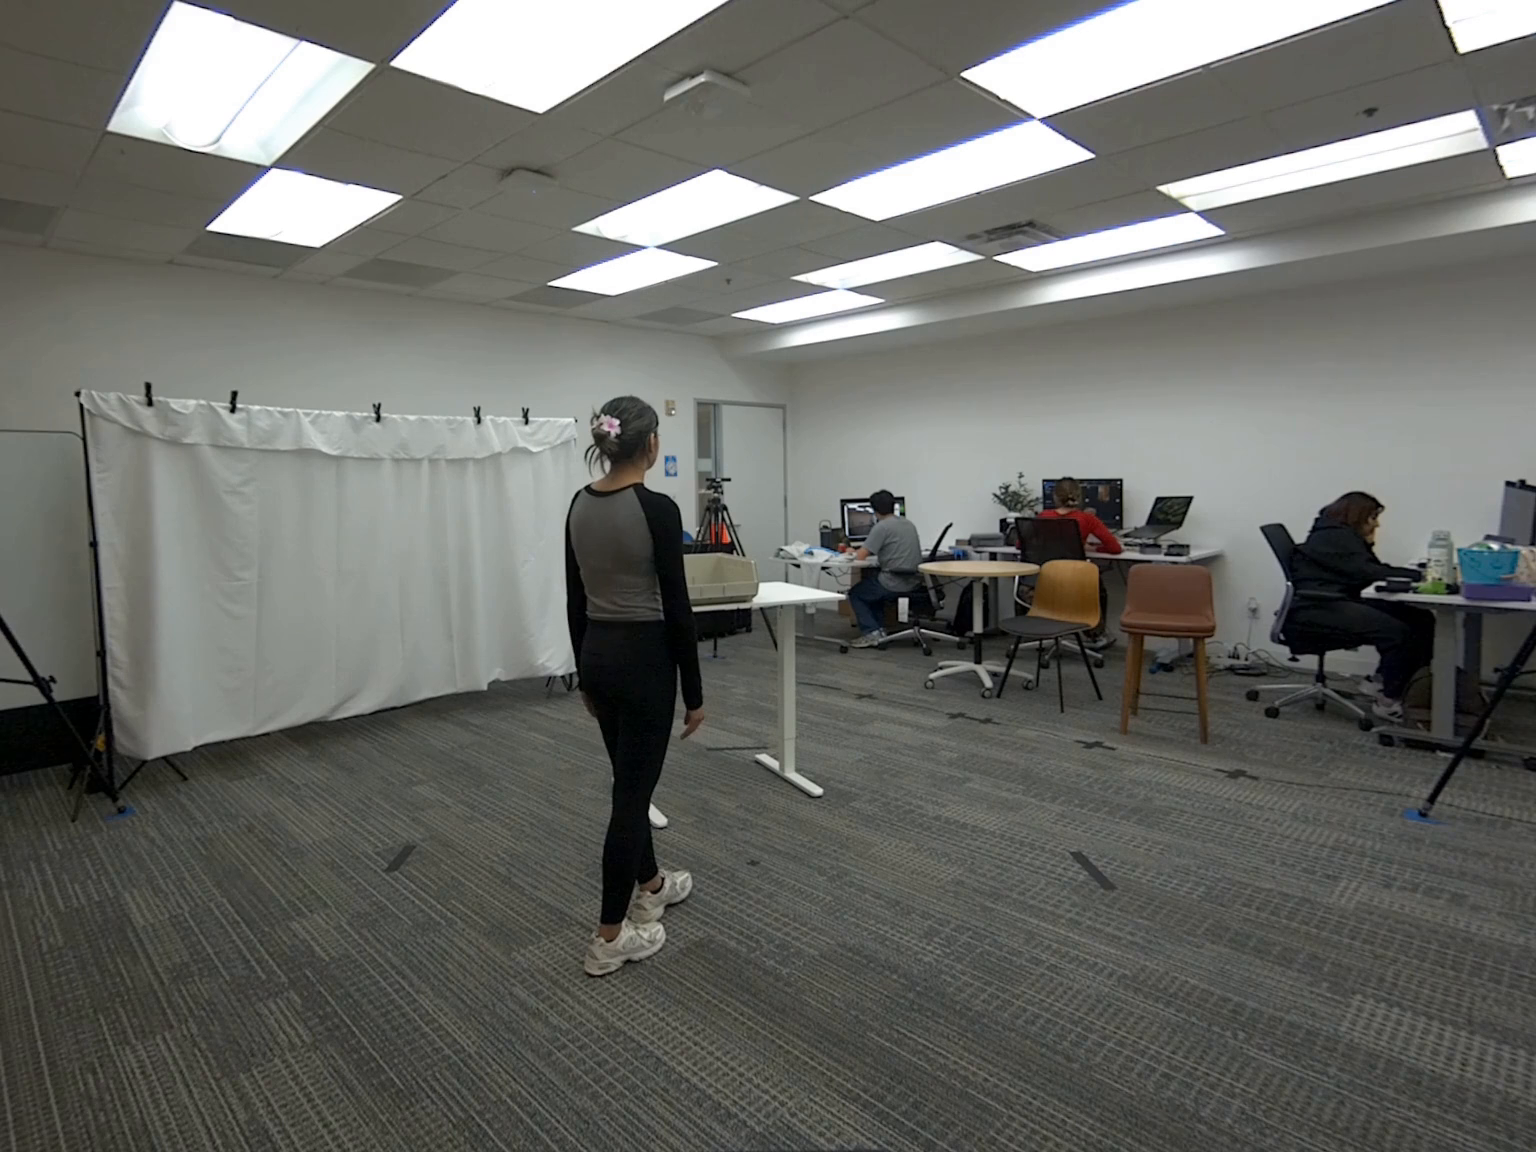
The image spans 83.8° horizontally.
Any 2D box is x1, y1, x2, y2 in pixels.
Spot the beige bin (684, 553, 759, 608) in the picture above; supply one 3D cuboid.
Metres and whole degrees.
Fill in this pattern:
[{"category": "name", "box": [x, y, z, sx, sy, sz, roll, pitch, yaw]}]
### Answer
[{"category": "beige bin", "box": [-0.308, 0.018, 3.607, 0.413, 0.188, 0.387, -3, 6, -27]}]
